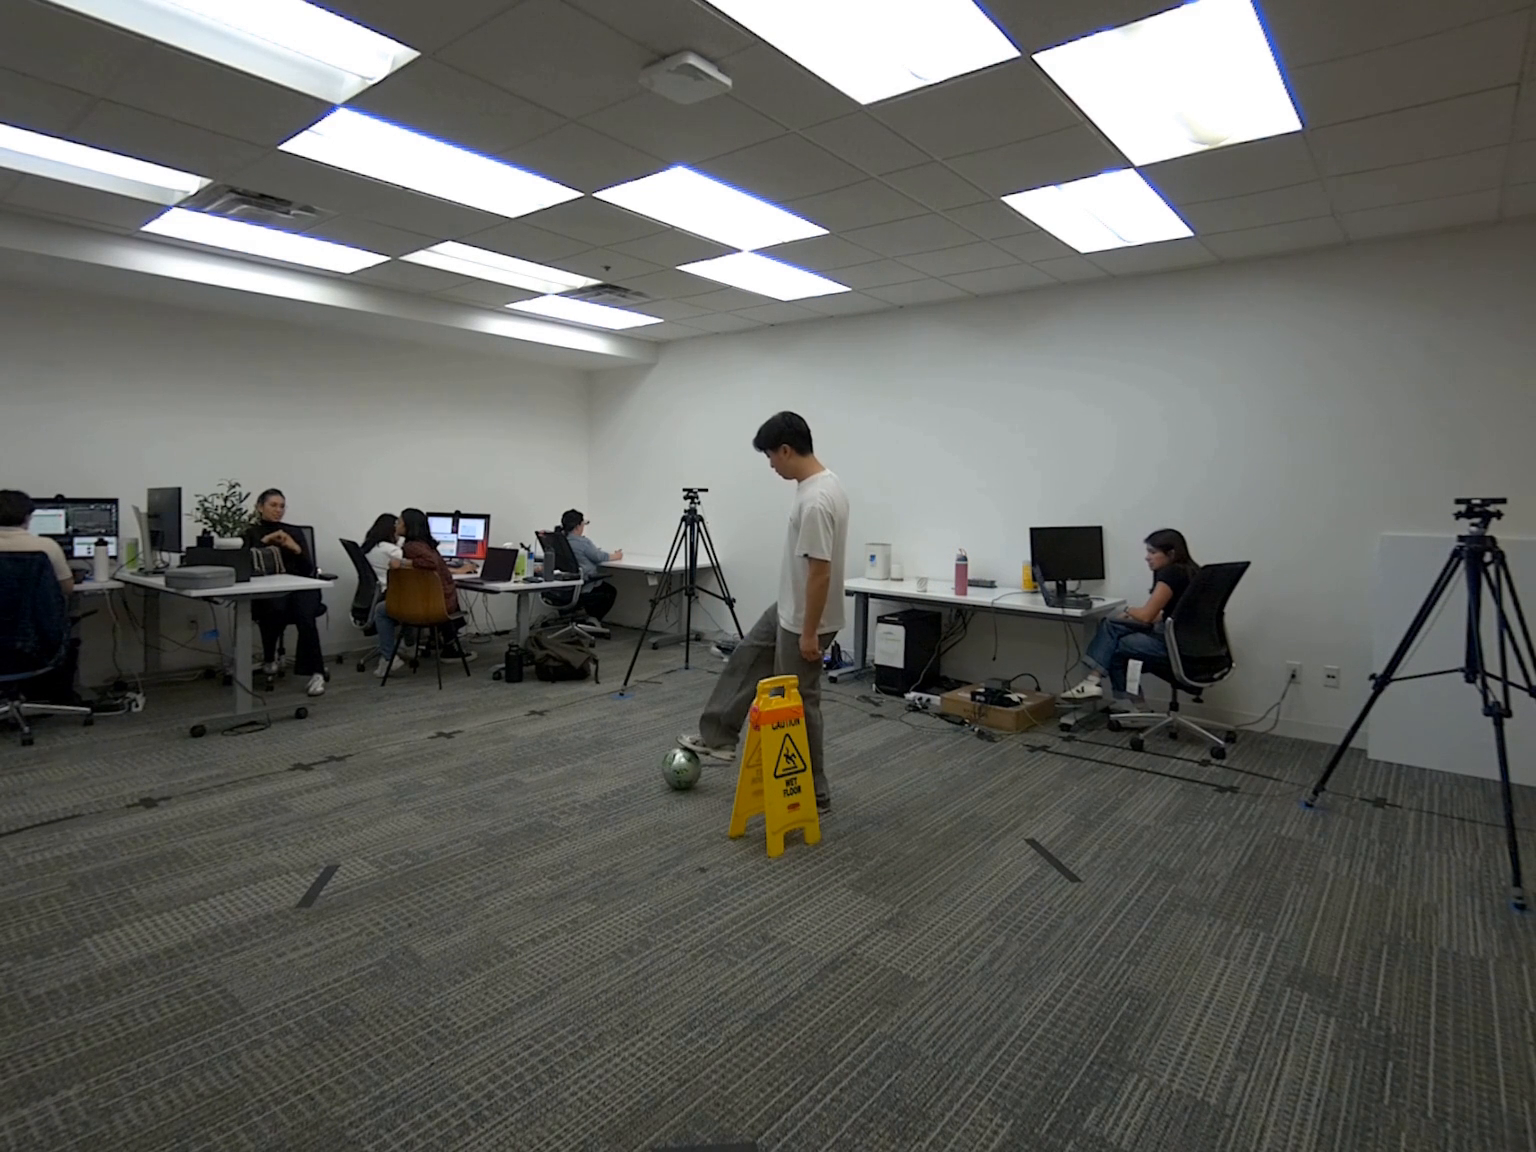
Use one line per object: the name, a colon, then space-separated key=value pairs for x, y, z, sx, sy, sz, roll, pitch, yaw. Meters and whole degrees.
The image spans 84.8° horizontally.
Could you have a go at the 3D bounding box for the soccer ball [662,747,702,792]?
soccer ball: x=-0.386 y=0.884 z=3.961 sx=0.187 sy=0.187 sz=0.188 roll=1 pitch=4 yaw=-2
